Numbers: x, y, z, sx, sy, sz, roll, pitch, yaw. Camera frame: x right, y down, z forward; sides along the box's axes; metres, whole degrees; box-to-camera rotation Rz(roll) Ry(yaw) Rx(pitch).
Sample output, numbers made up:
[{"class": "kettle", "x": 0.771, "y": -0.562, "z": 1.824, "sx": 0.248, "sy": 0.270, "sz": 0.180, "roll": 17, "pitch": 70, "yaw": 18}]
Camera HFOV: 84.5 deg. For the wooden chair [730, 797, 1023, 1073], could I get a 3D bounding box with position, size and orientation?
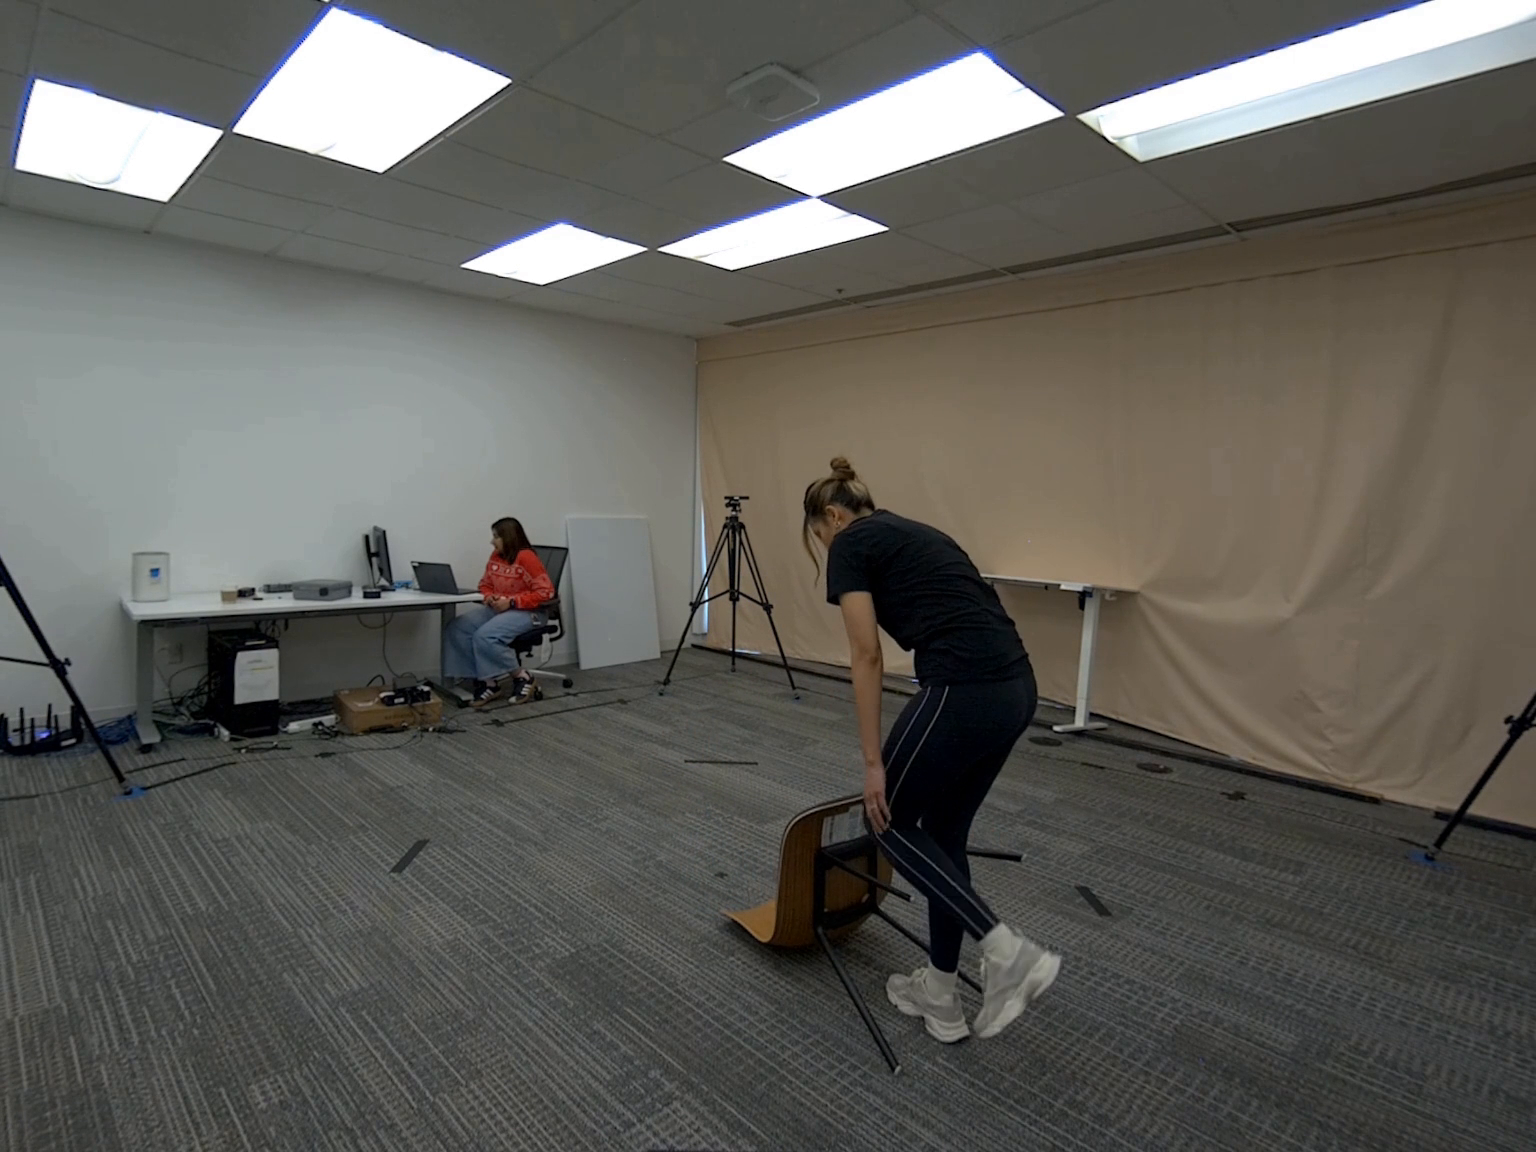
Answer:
[{"class": "wooden chair", "x": 0.233, "y": 0.908, "z": 2.500, "sx": 0.467, "sy": 0.522, "sz": 0.899, "roll": -1, "pitch": 5, "yaw": -38}]
